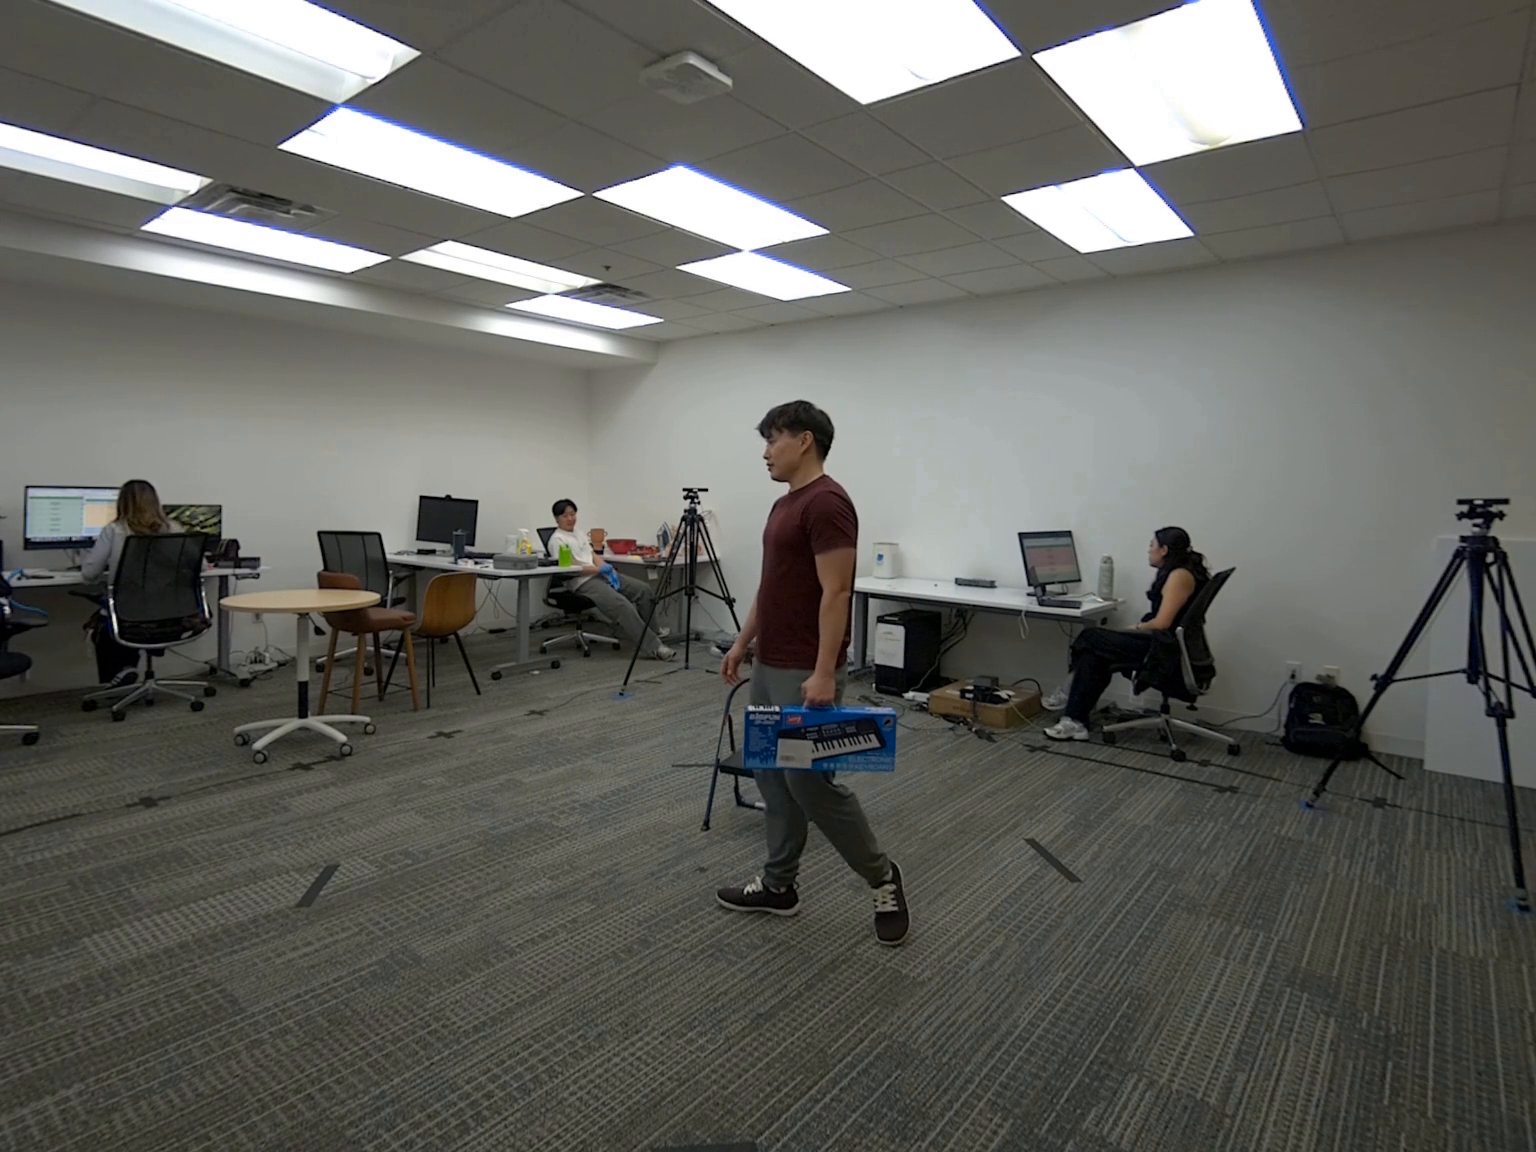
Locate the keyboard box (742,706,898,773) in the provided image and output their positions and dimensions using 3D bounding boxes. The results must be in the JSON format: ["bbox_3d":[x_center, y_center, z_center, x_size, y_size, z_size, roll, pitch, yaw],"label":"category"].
[{"bbox_3d":[0.140,0.466,2.465,0.436,0.175,0.059,2,4,-1],"label":"keyboard box"}]
